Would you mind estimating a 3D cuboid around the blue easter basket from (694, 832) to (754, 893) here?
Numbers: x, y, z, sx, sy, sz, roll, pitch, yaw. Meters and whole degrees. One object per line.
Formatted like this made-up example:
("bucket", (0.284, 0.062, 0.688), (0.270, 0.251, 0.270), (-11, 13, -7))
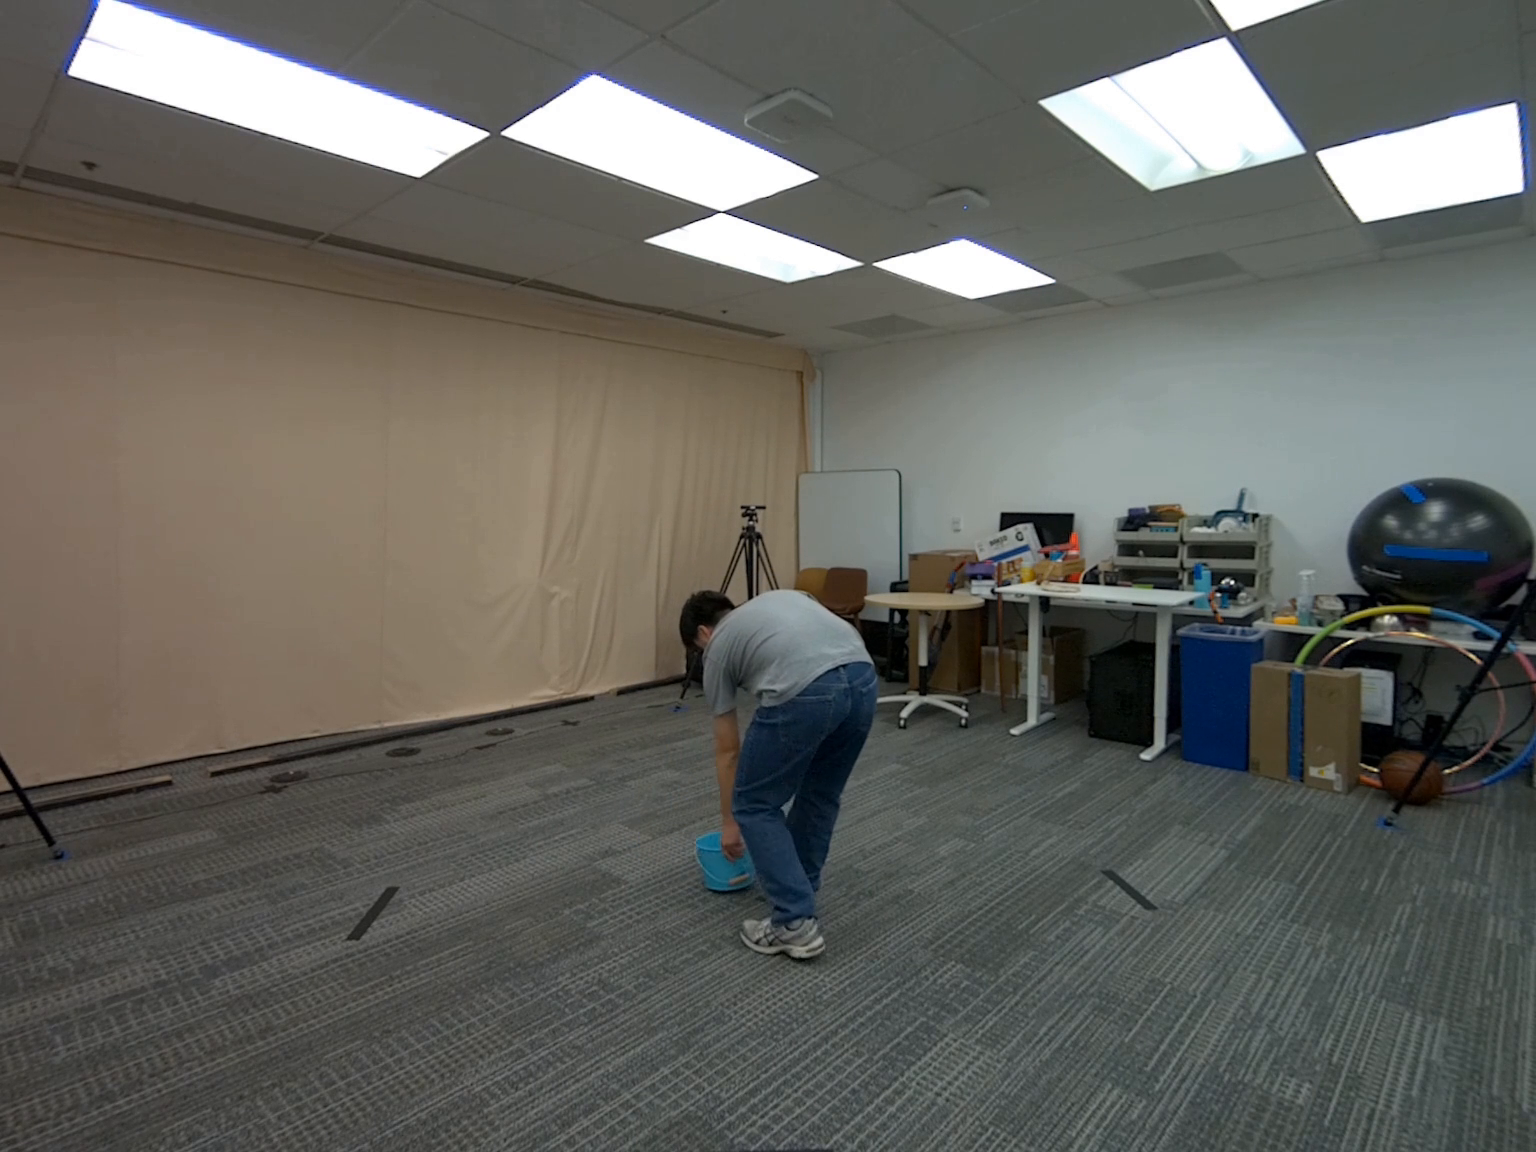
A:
("blue easter basket", (-0.153, 1.048, 3.087), (0.243, 0.156, 0.243), (-6, -1, -2))
